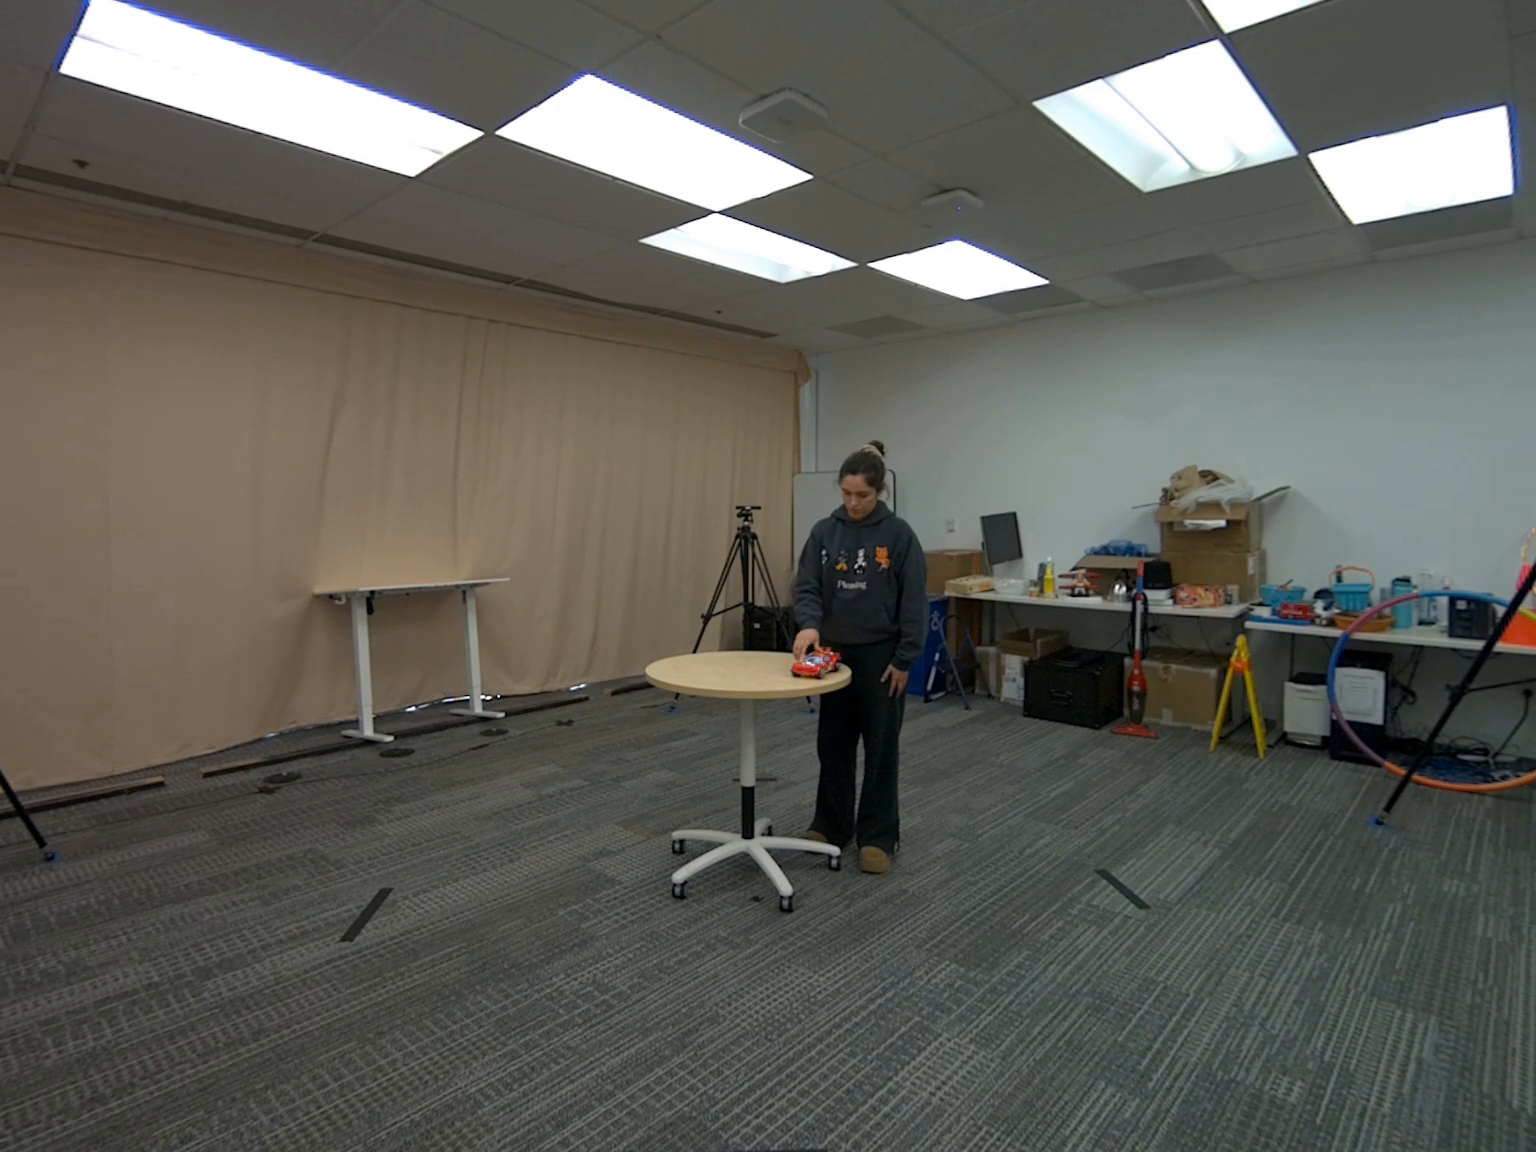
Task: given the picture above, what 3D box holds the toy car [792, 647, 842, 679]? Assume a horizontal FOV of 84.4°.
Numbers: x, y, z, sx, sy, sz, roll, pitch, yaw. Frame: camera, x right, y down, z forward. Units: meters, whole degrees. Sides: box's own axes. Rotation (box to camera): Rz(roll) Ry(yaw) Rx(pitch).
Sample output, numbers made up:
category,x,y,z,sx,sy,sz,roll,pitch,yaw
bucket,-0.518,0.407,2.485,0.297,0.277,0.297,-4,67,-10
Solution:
category,x,y,z,sx,sy,sz,roll,pitch,yaw
toy car,0.202,0.318,3.065,0.134,0.082,0.250,2,16,27
